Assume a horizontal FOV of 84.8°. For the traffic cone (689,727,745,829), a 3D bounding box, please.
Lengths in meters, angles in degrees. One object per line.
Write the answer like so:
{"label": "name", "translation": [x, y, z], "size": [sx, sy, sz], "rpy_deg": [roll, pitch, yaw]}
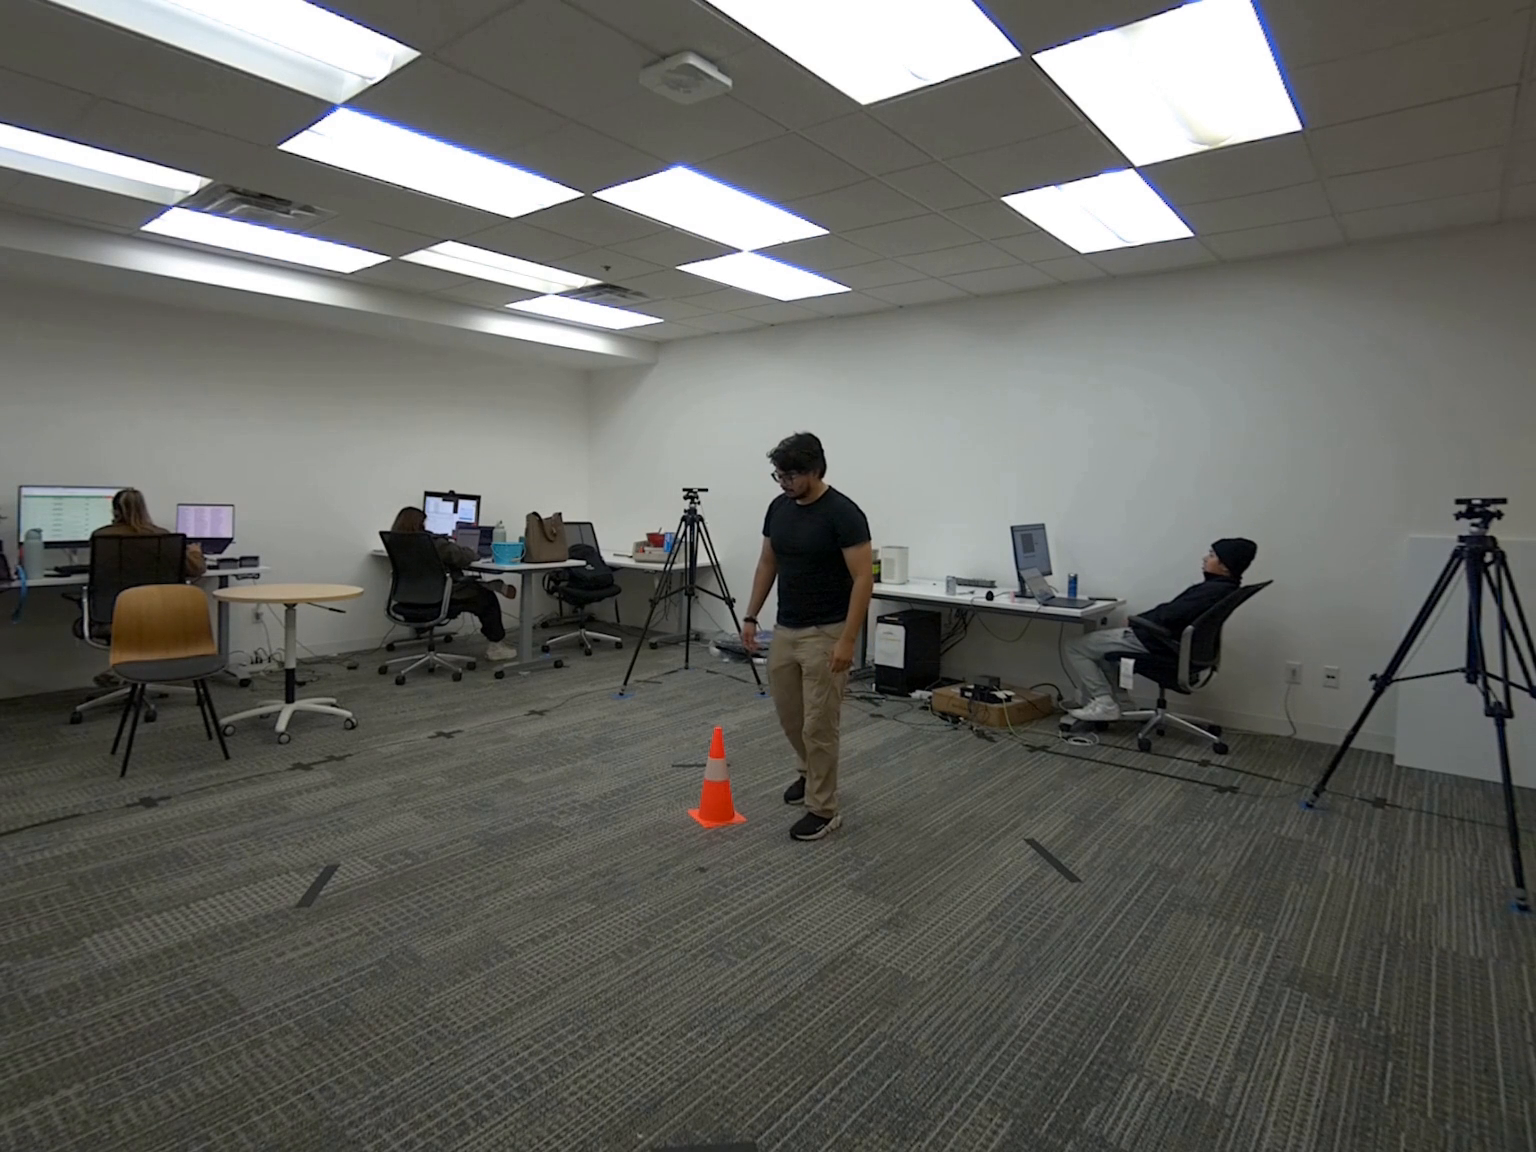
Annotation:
{"label": "traffic cone", "translation": [-0.222, 0.836, 3.627], "size": [0.200, 0.382, 0.208], "rpy_deg": [0, 4, -23]}
